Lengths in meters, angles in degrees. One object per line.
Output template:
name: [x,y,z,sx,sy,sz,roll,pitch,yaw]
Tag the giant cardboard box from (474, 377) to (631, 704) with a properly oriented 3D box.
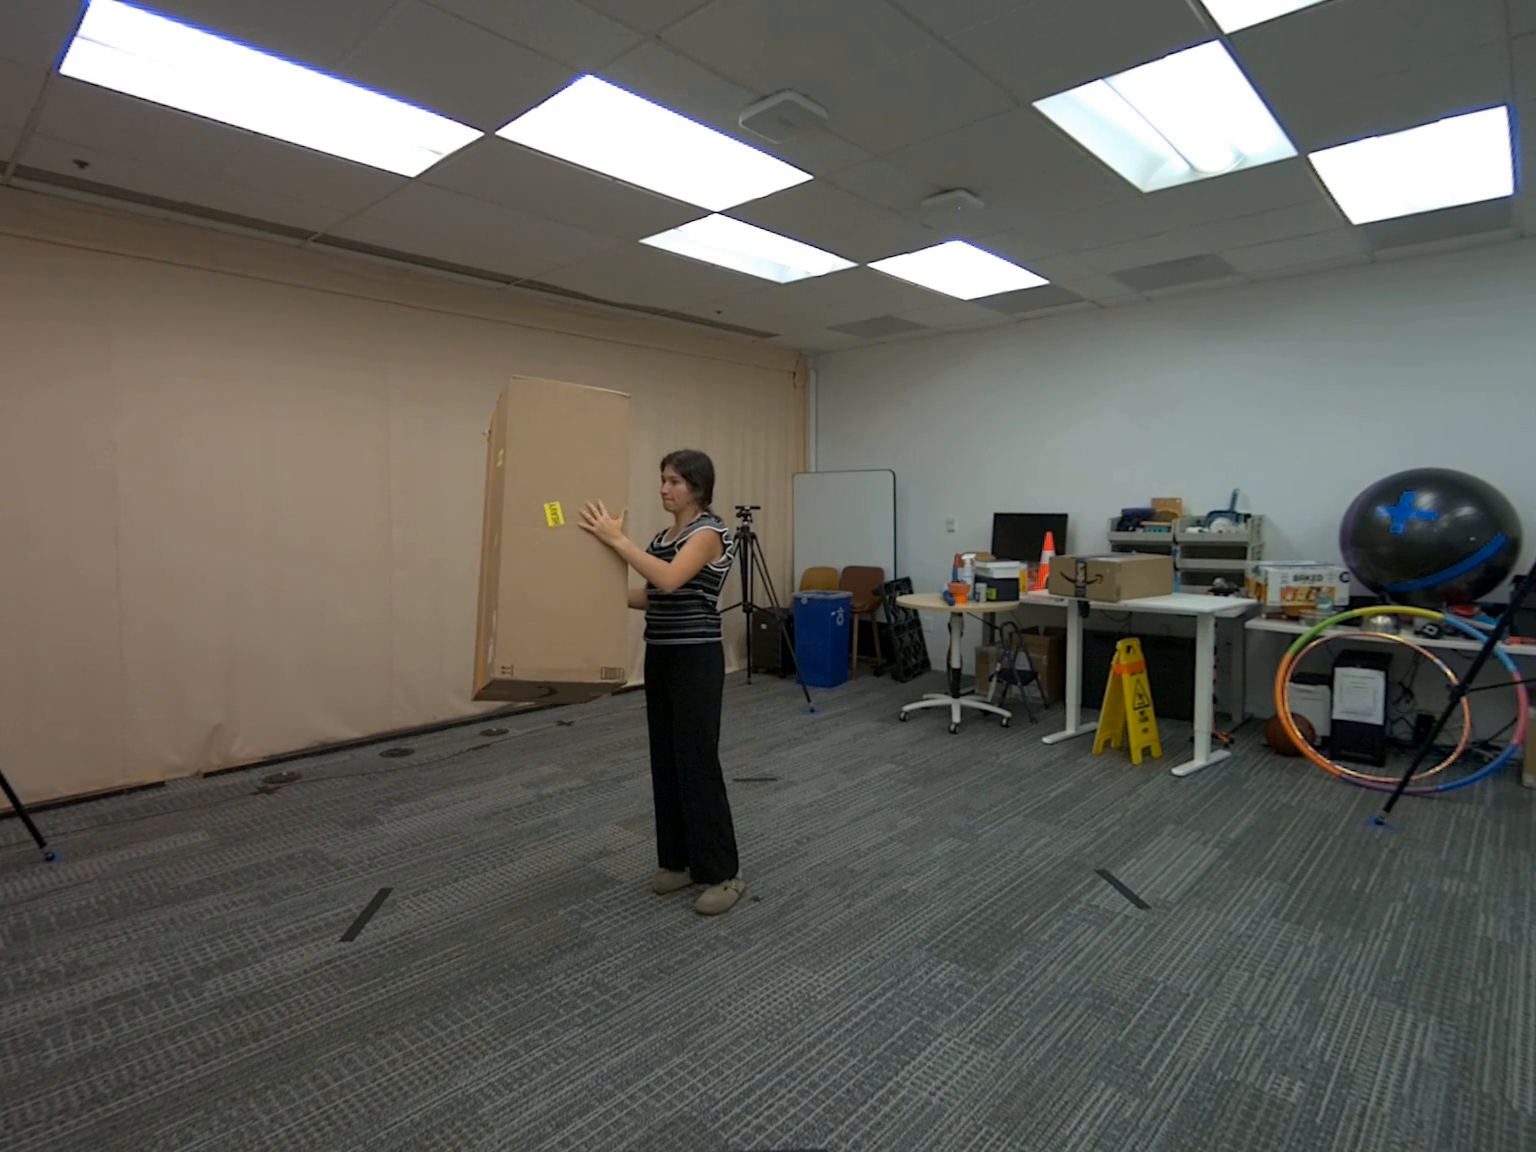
giant cardboard box: [-0.779,-0.079,3.002,0.416,1.037,0.585,5,-18,-24]
